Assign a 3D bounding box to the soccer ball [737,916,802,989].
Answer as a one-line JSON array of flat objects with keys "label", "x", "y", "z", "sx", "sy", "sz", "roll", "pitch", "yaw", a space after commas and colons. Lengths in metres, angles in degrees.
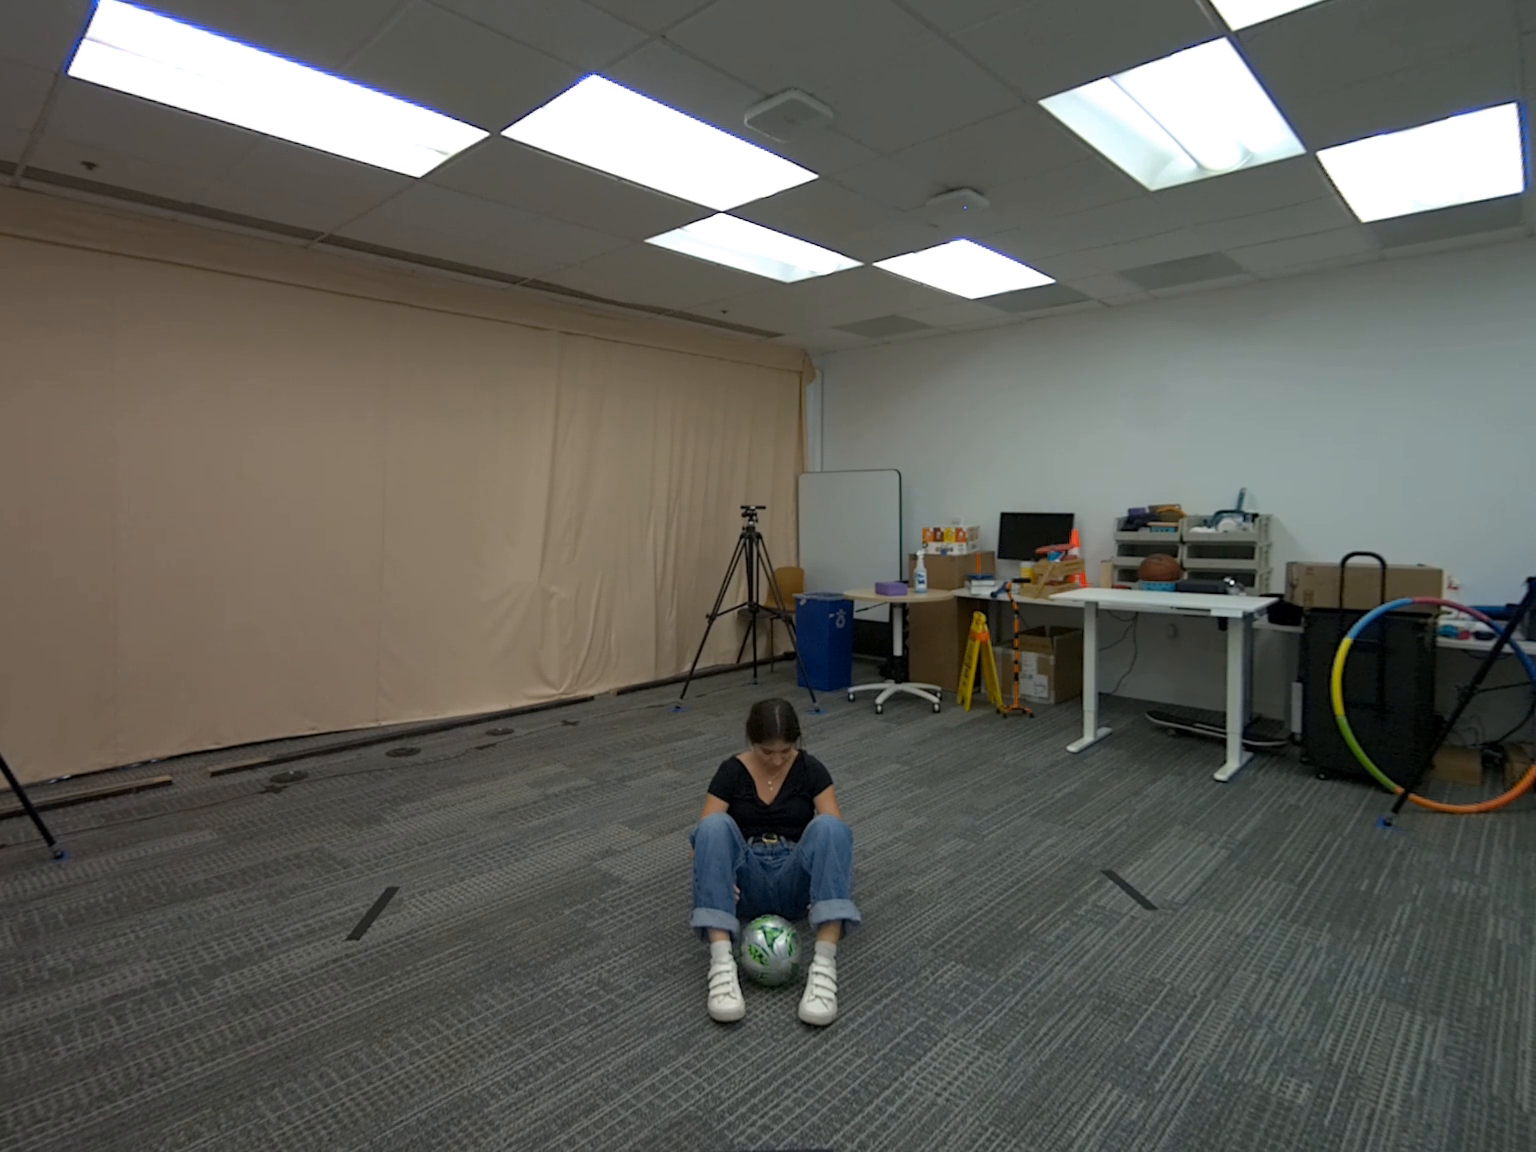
[{"label": "soccer ball", "x": 0.015, "y": 1.089, "z": 2.469, "sx": 0.187, "sy": 0.187, "sz": 0.188, "roll": 3, "pitch": 4, "yaw": -2}]
